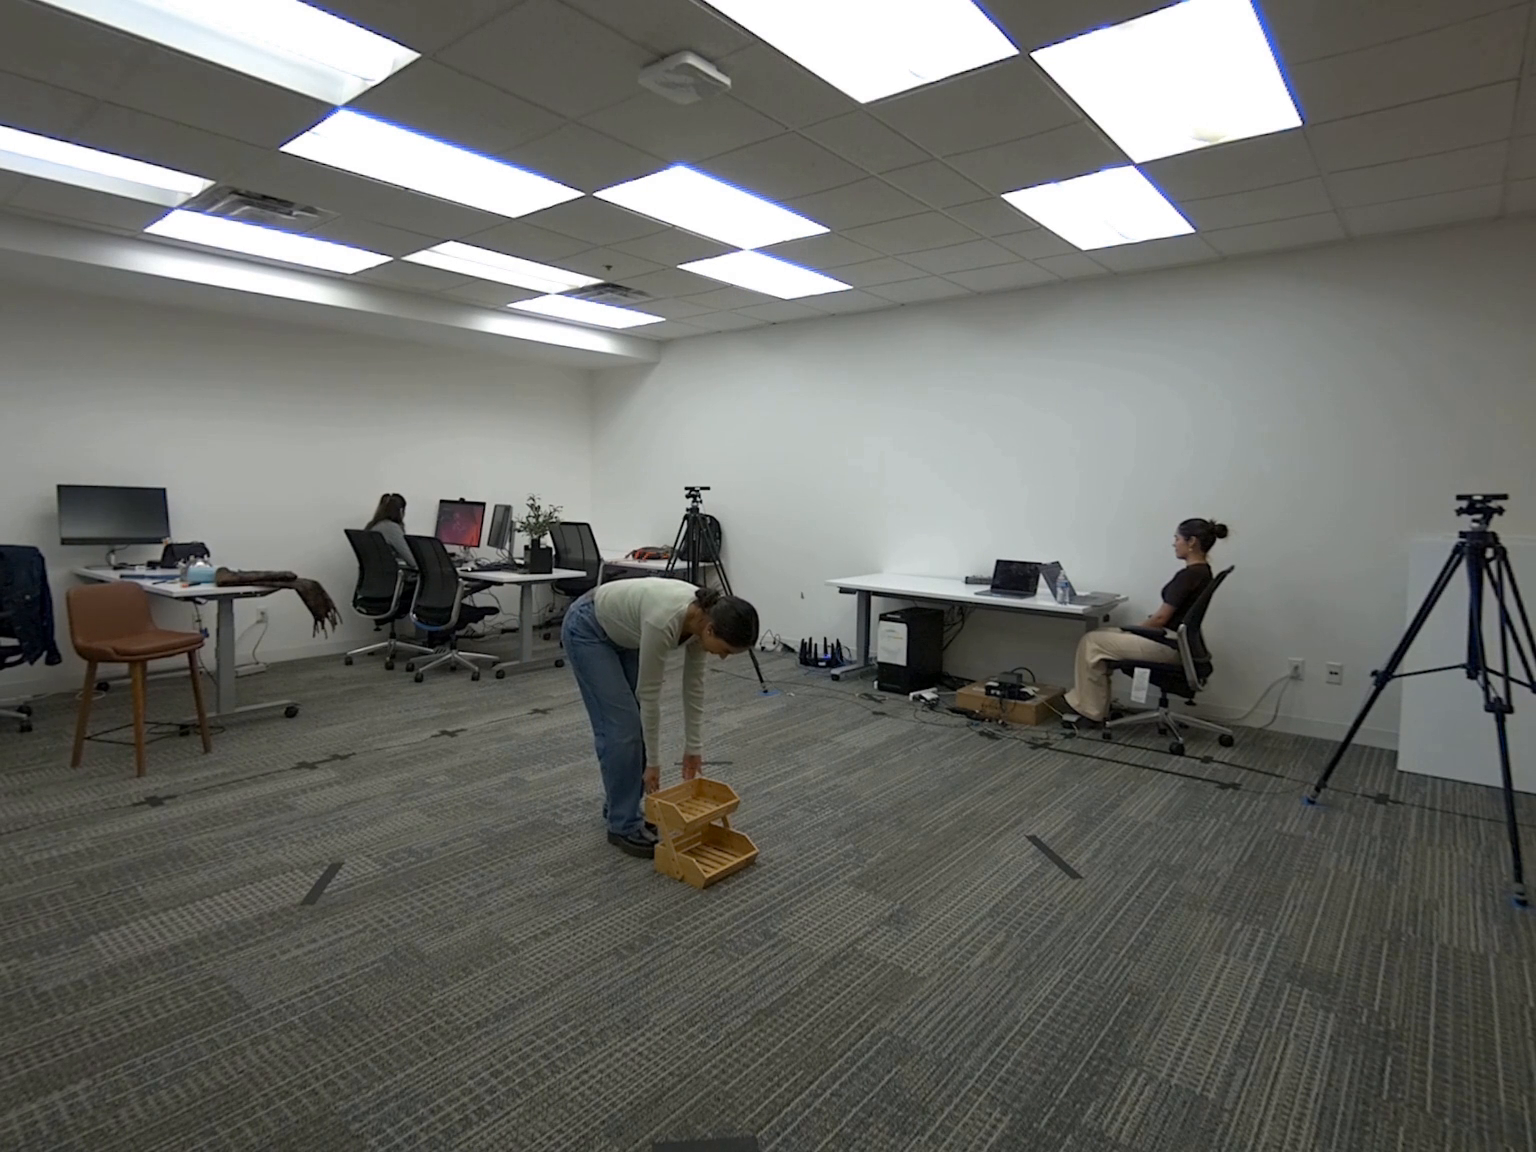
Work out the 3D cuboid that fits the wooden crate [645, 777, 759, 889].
[{"bbox_3d":[-0.248,0.927,3.128,0.312,0.272,0.315,3,5,39],"label":"wooden crate"}]
